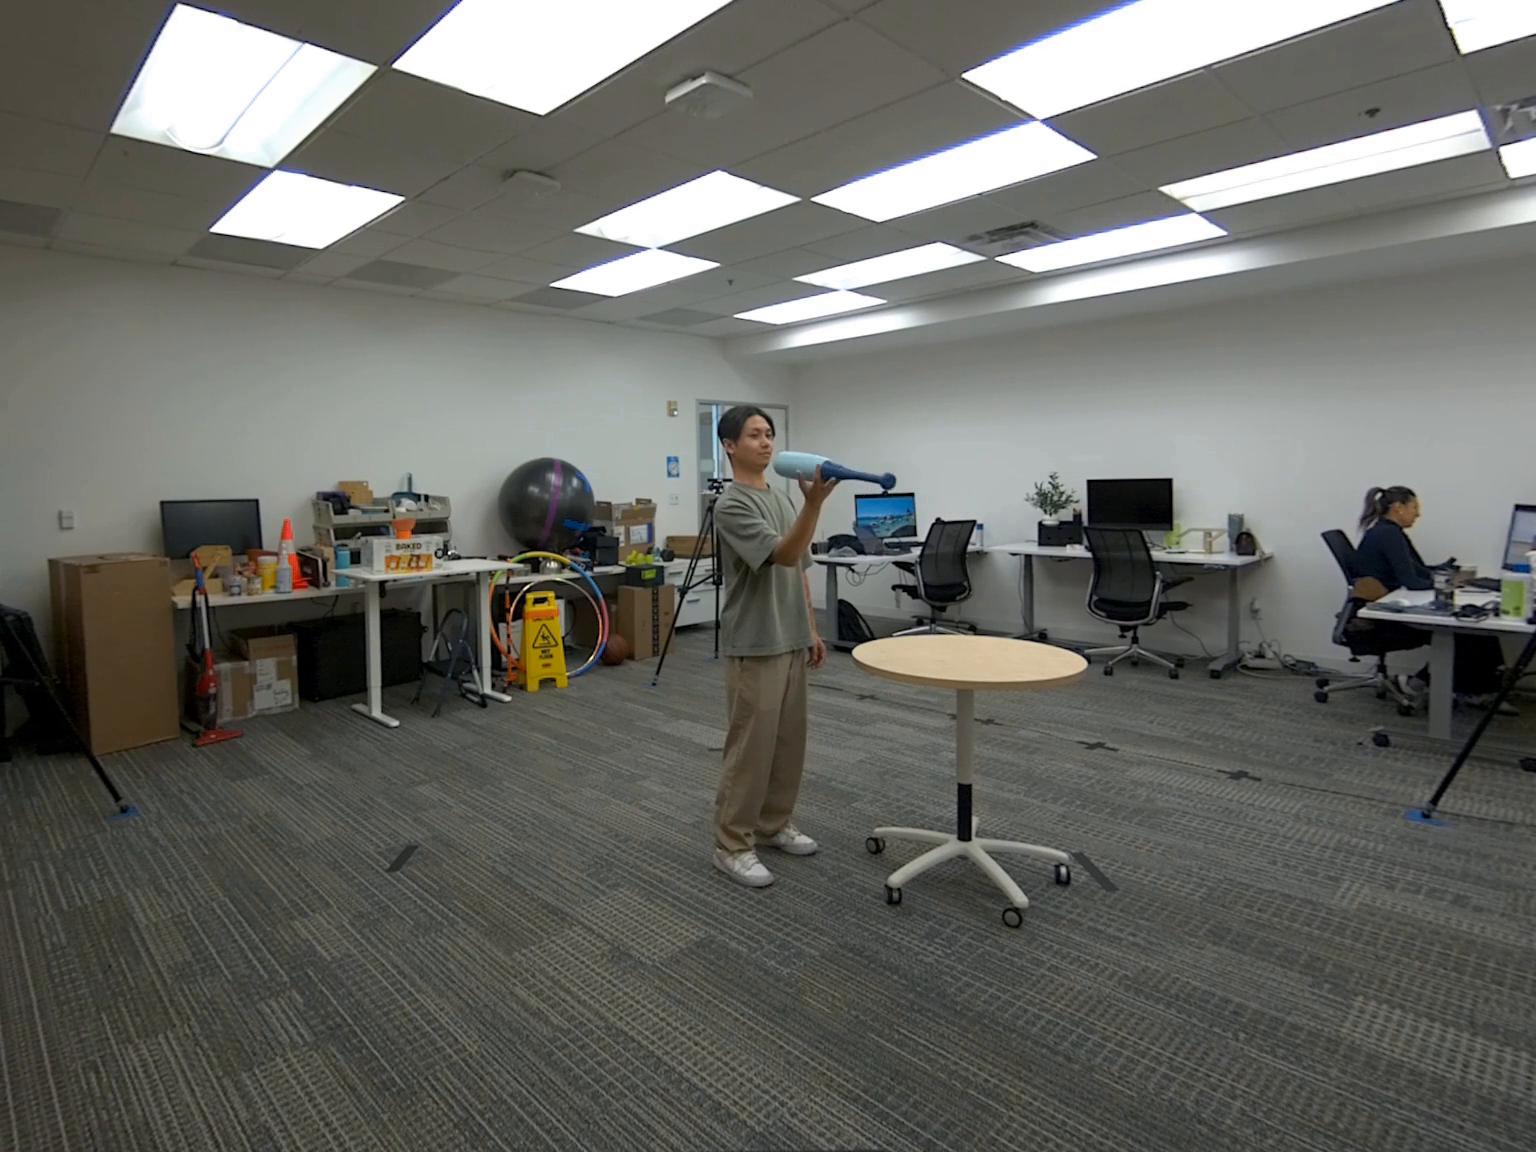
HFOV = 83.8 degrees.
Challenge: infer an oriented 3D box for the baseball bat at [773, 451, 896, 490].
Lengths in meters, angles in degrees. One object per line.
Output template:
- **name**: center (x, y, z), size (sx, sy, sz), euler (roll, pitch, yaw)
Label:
- **baseball bat**: center (0.201, -0.317, 2.610), size (0.087, 0.088, 0.561), euler (-4, 14, -31)
